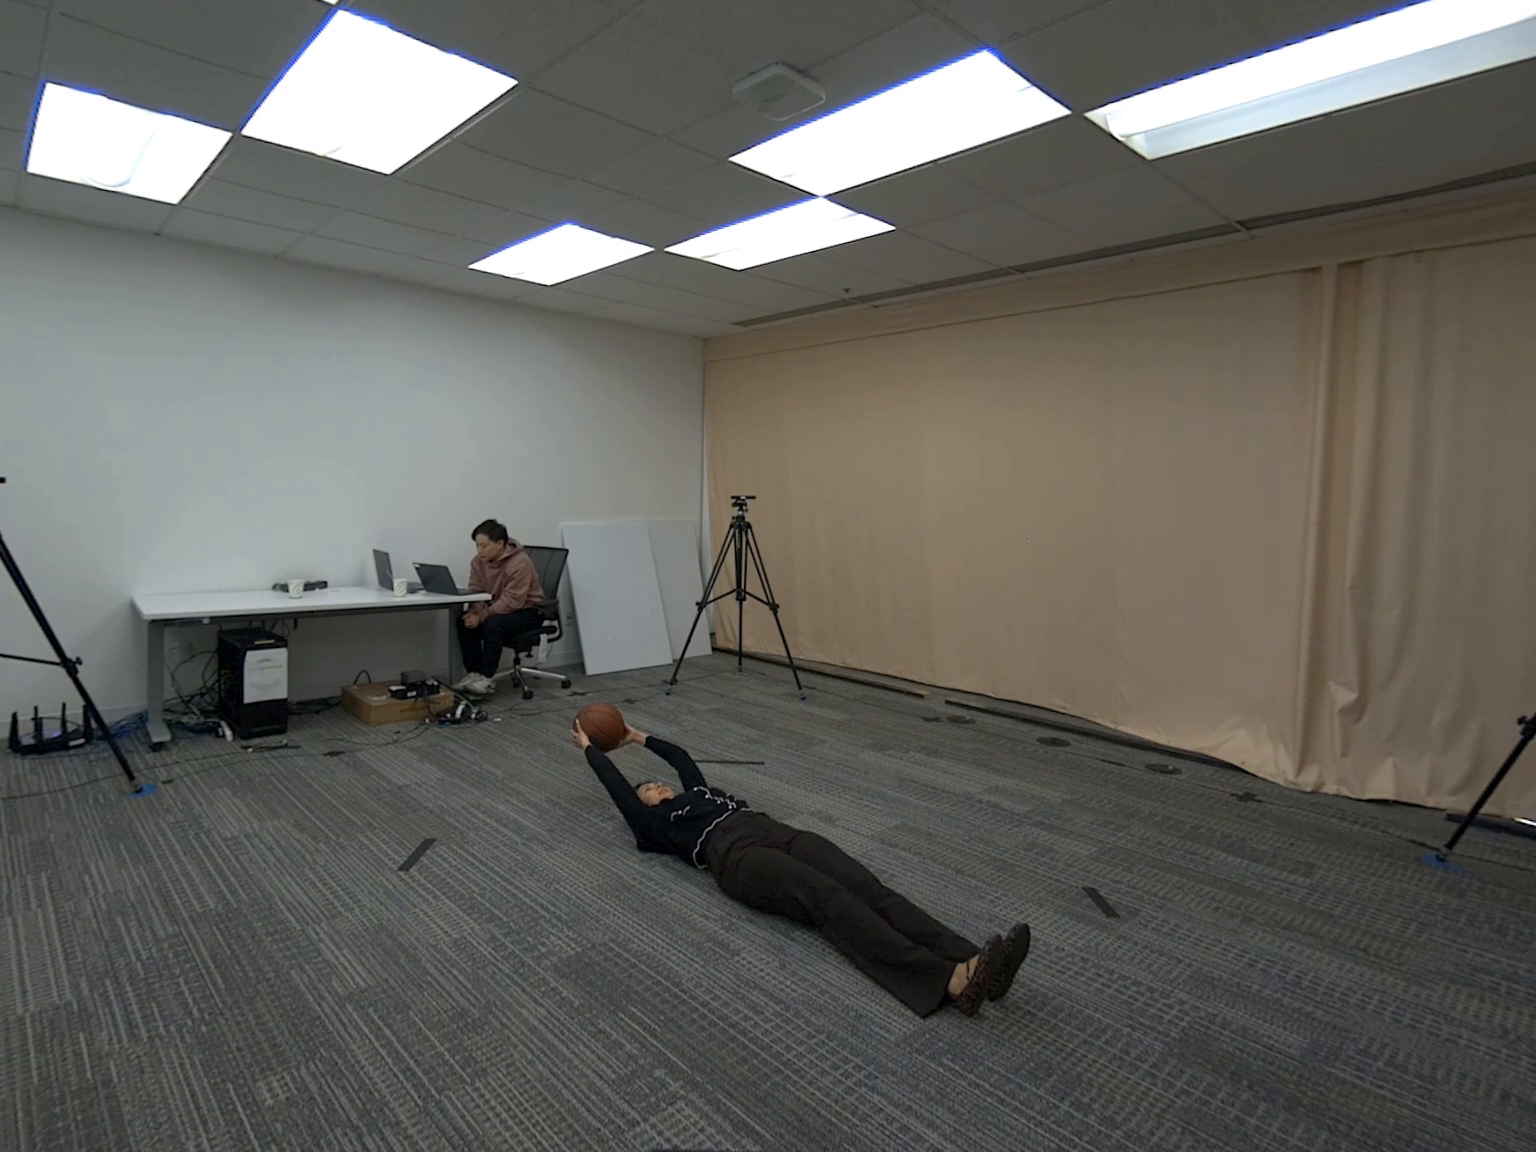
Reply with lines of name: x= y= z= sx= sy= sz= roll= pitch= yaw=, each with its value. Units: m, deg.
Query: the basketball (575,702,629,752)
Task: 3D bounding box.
basketball: x=-0.779 y=0.695 z=3.852 sx=0.236 sy=0.235 sz=0.237 roll=1 pitch=4 yaw=-1
